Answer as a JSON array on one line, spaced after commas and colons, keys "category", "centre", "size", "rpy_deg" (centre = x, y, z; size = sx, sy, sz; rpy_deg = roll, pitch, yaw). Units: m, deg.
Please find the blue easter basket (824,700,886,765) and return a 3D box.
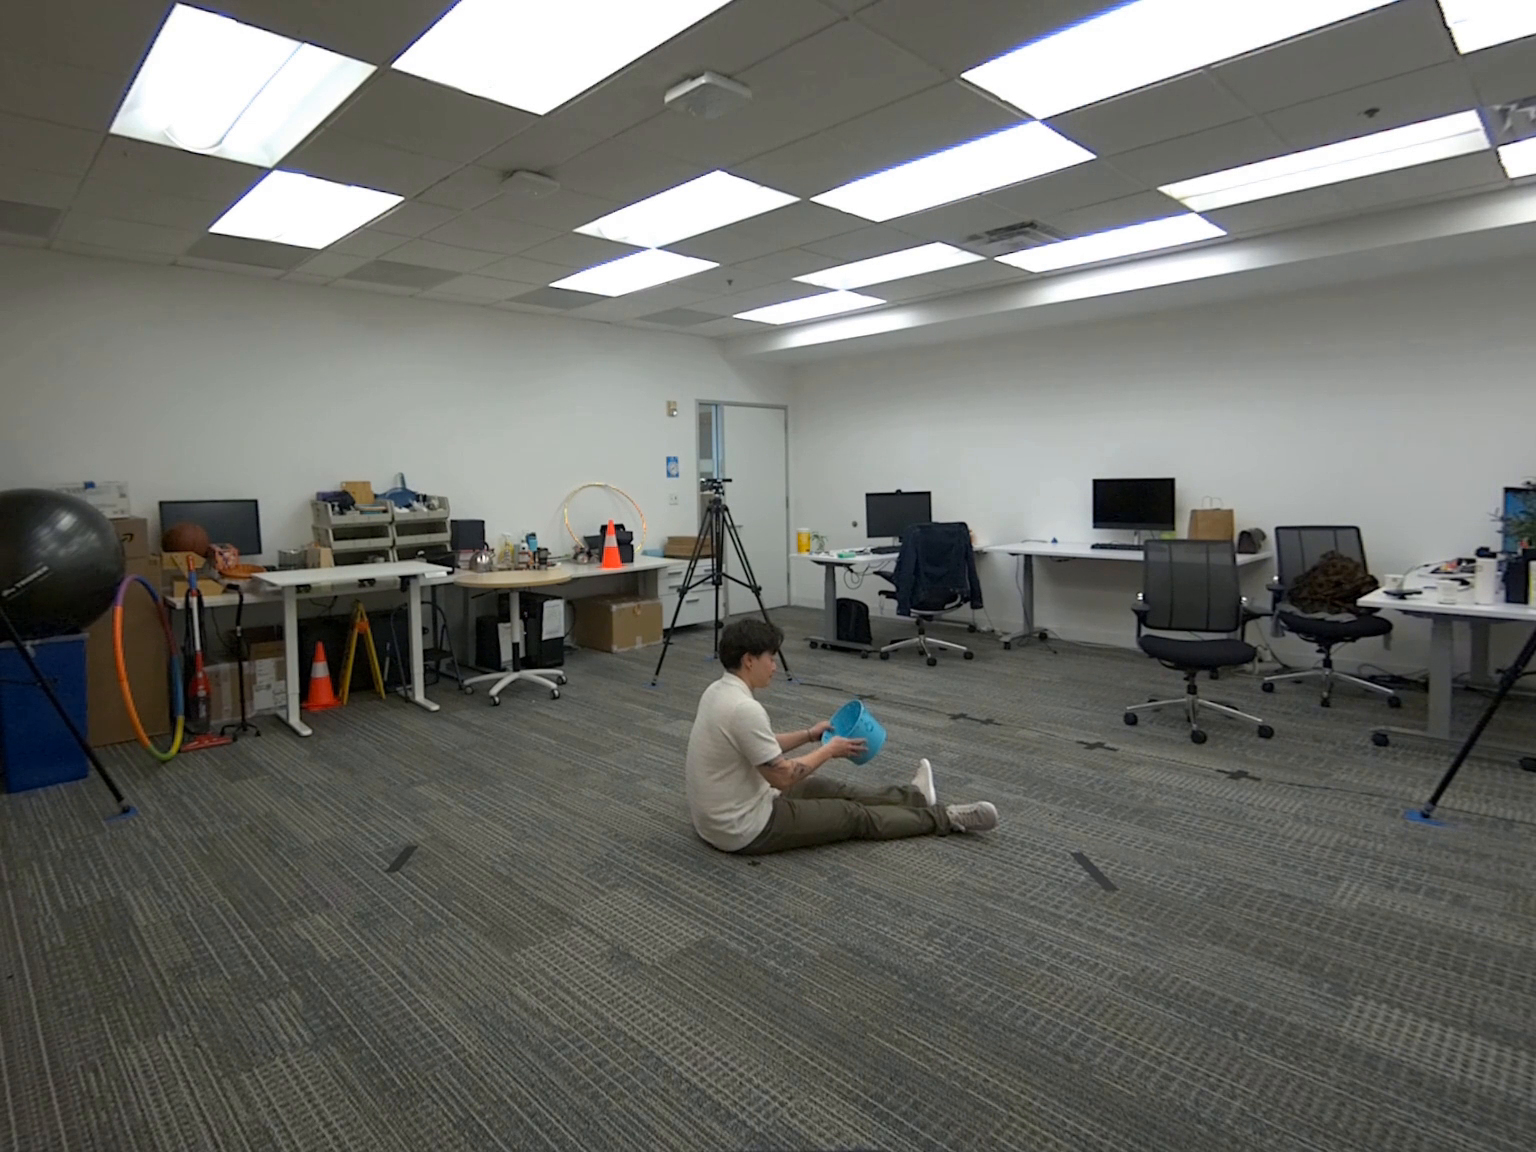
[{"category": "blue easter basket", "centre": [0.352, 0.627, 3.409], "size": [0.153, 0.243, 0.247], "rpy_deg": [41, -5, -14]}]
